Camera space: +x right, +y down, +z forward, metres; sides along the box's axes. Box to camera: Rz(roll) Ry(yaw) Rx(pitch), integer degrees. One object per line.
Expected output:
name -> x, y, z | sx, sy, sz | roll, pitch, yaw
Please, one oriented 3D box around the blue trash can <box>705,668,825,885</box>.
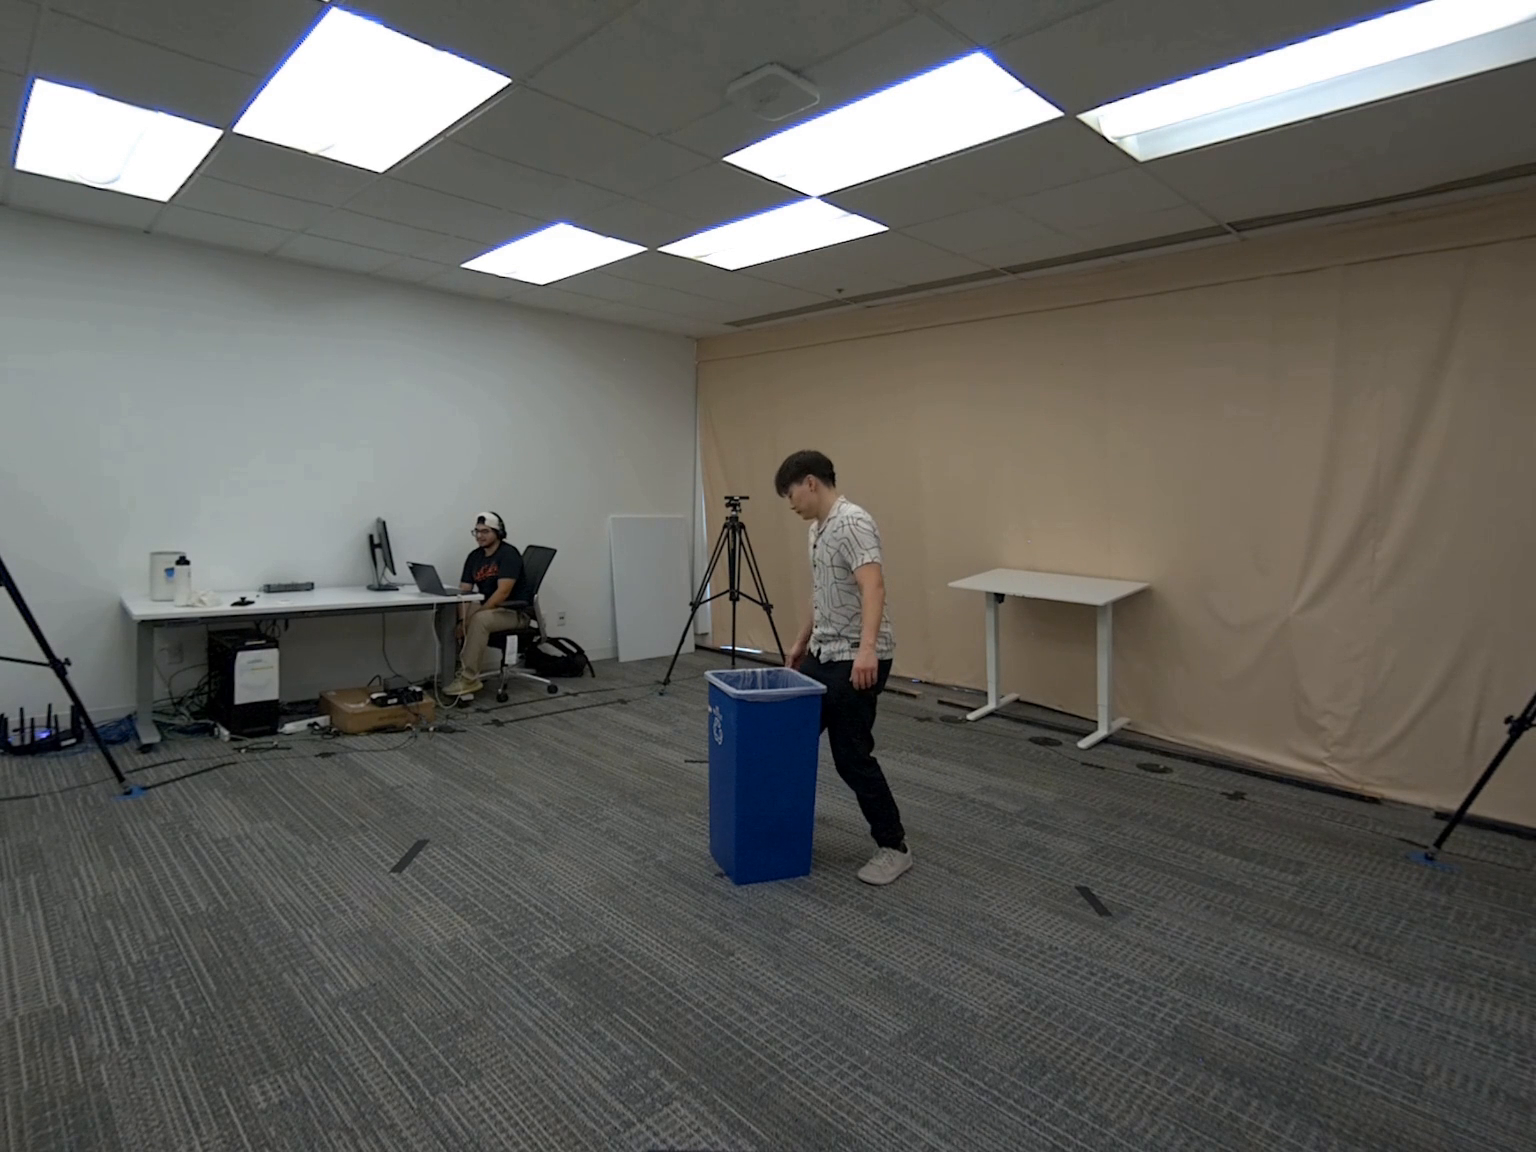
blue trash can -> -0.034, 0.741, 3.178 | 0.368, 0.712, 0.385 | 0, 4, -23
